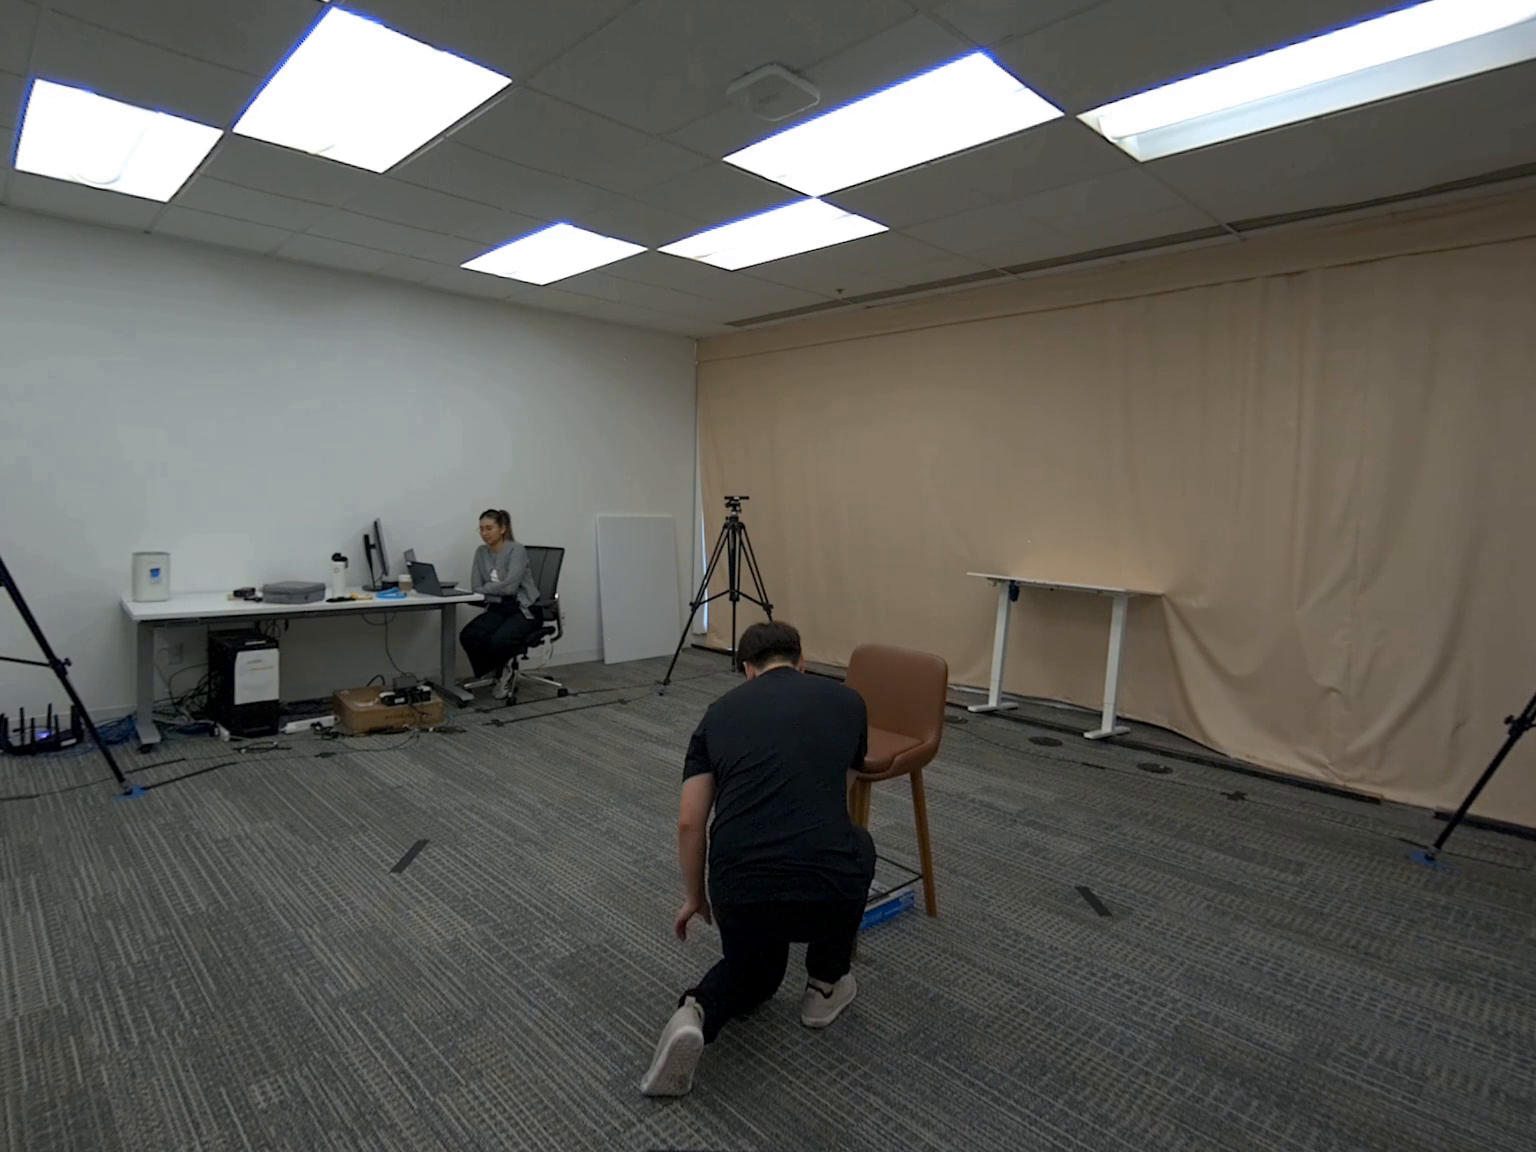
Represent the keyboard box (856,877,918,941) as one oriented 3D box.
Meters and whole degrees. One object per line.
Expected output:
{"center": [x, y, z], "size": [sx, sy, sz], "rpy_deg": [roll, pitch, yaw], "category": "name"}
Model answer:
{"center": [0.286, 1.121, 2.819], "size": [0.427, 0.059, 0.180], "rpy_deg": [-3, 7, -40], "category": "keyboard box"}
